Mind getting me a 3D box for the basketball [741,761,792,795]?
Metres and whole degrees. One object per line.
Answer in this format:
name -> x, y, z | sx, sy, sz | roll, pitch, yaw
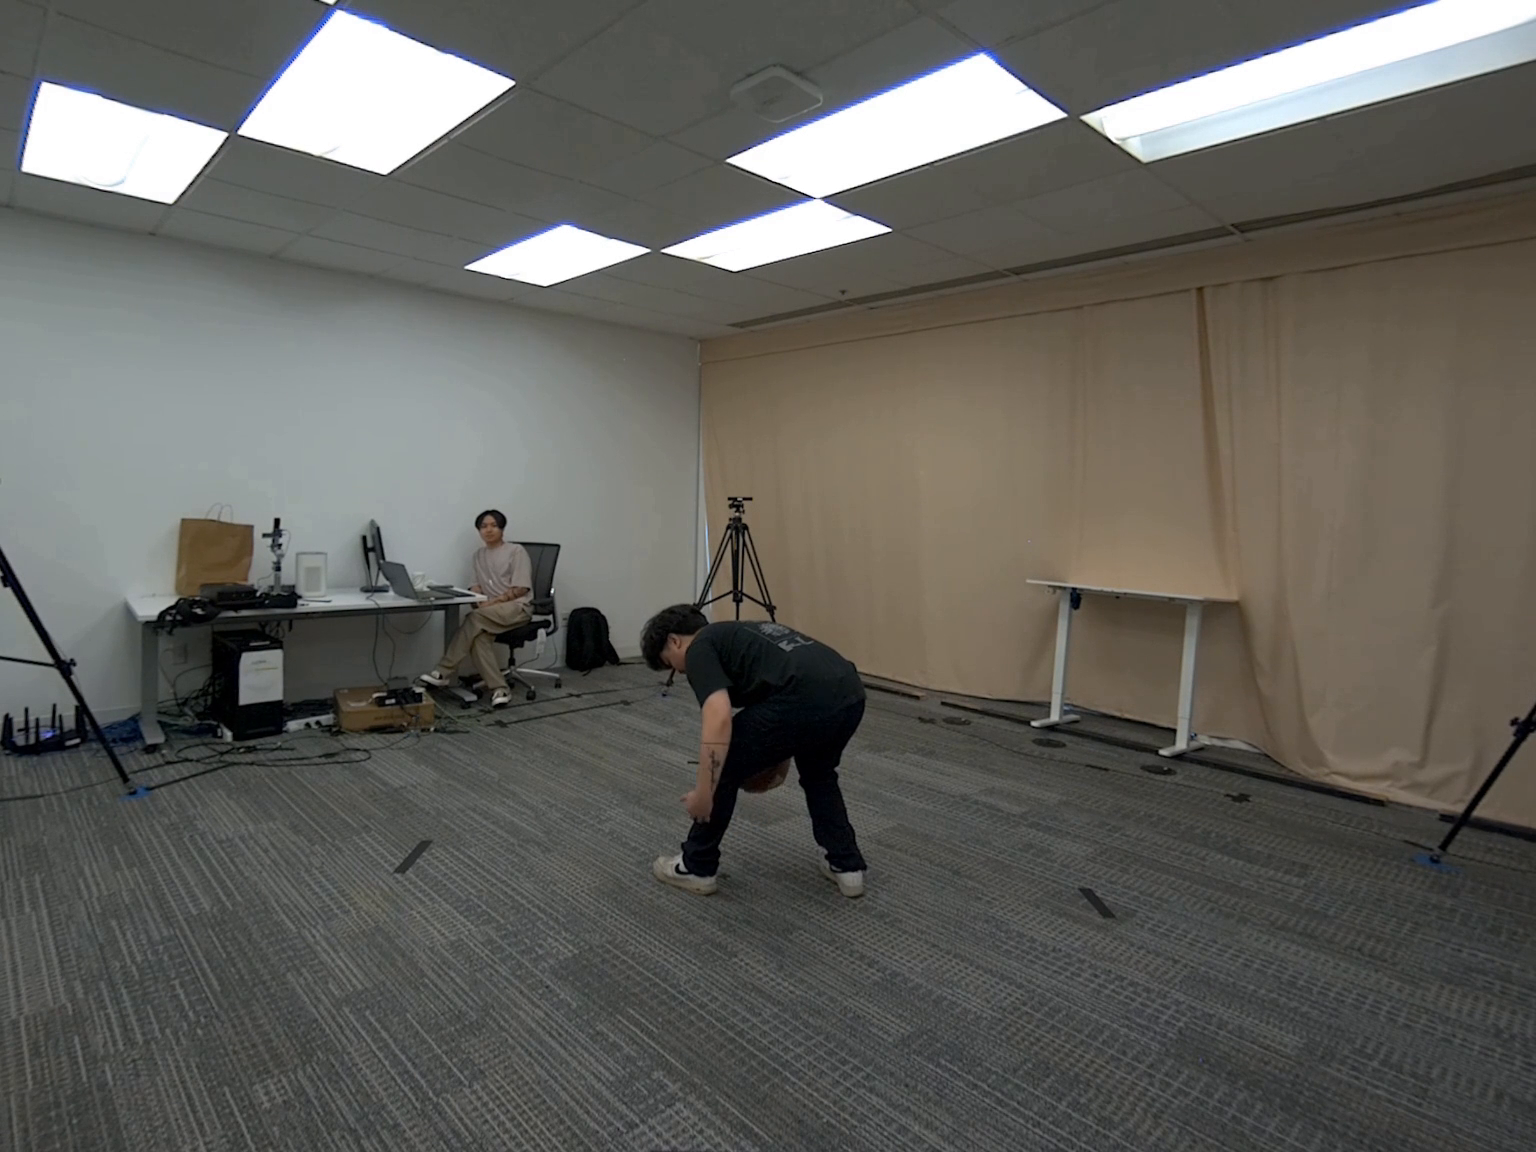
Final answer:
basketball -> -0.067, 0.708, 3.240 | 0.236, 0.235, 0.237 | 1, 4, -1
